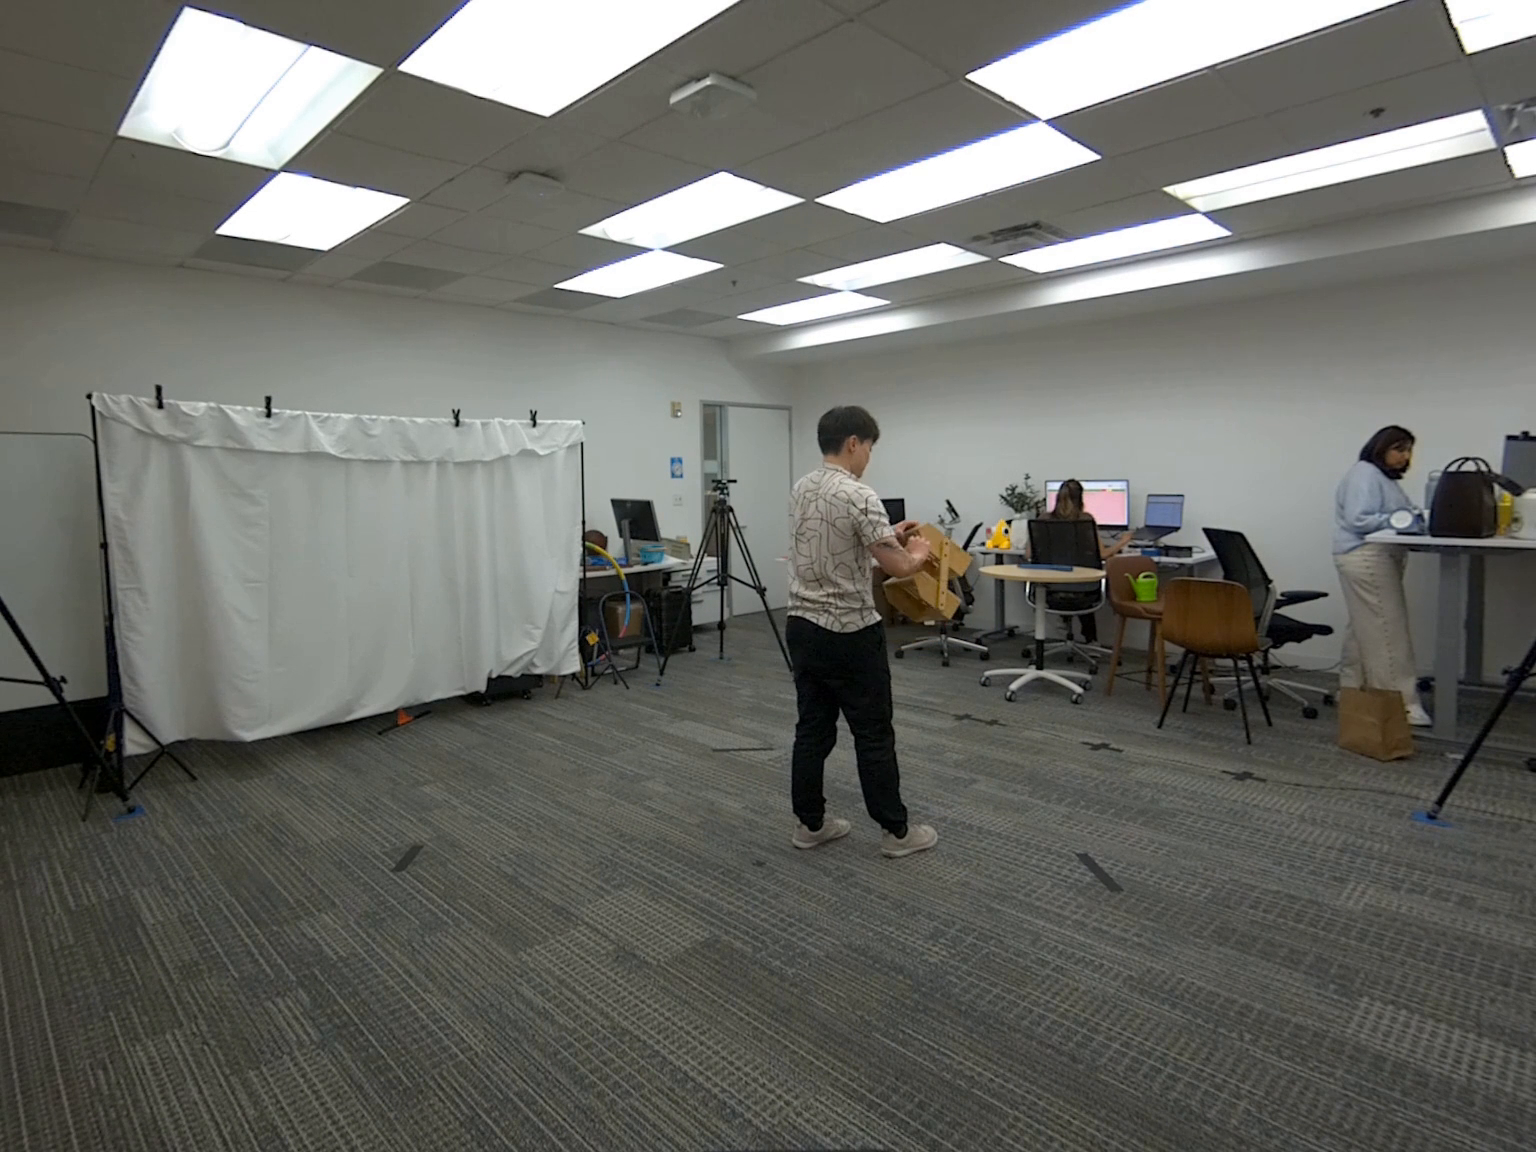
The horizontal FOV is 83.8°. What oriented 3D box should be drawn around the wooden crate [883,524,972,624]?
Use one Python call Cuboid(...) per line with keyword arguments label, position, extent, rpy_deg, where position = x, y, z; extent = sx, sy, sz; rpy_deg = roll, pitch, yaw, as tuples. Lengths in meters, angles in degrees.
Cuboid(label="wooden crate", position=(0.603, -0.010, 3.432), extent=(0.300, 0.274, 0.326), rpy_deg=(38, -12, -7))
